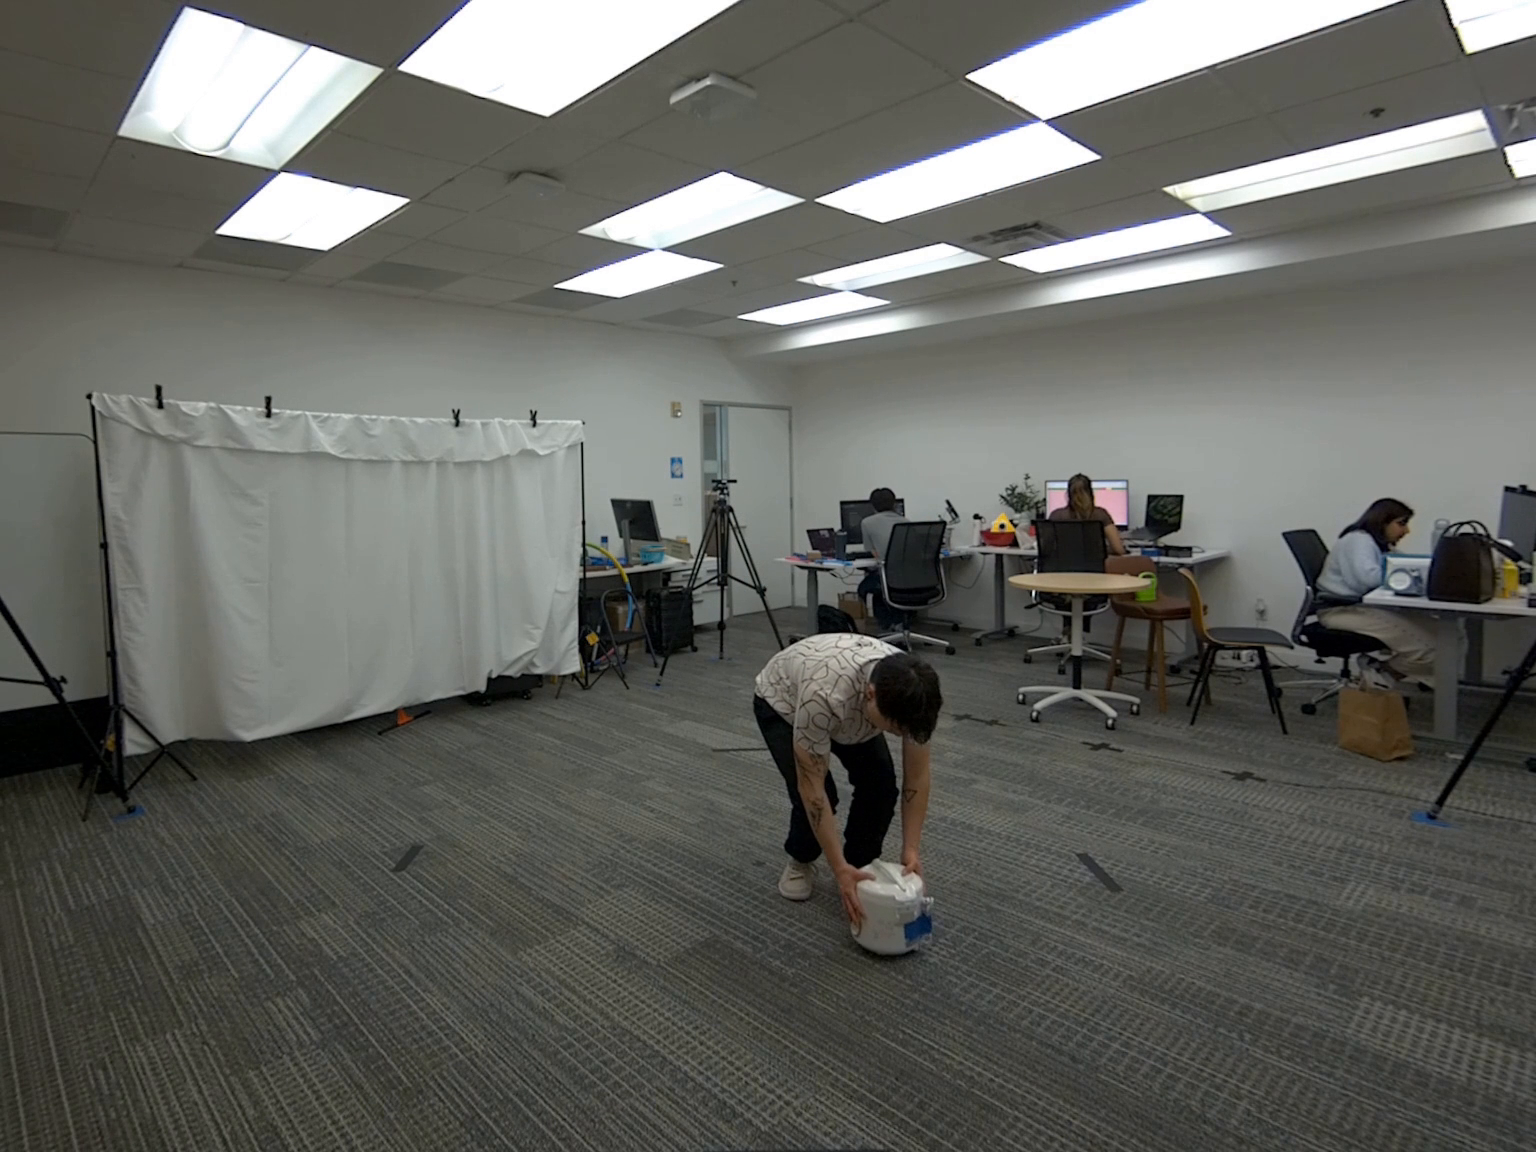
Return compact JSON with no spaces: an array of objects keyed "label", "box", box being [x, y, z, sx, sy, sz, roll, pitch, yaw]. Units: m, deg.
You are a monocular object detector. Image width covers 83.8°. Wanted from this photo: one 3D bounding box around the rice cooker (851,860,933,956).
[{"label":"rice cooker","box":[0.345,0.974,2.546,0.213,0.232,0.226,-1,5,-22]}]
